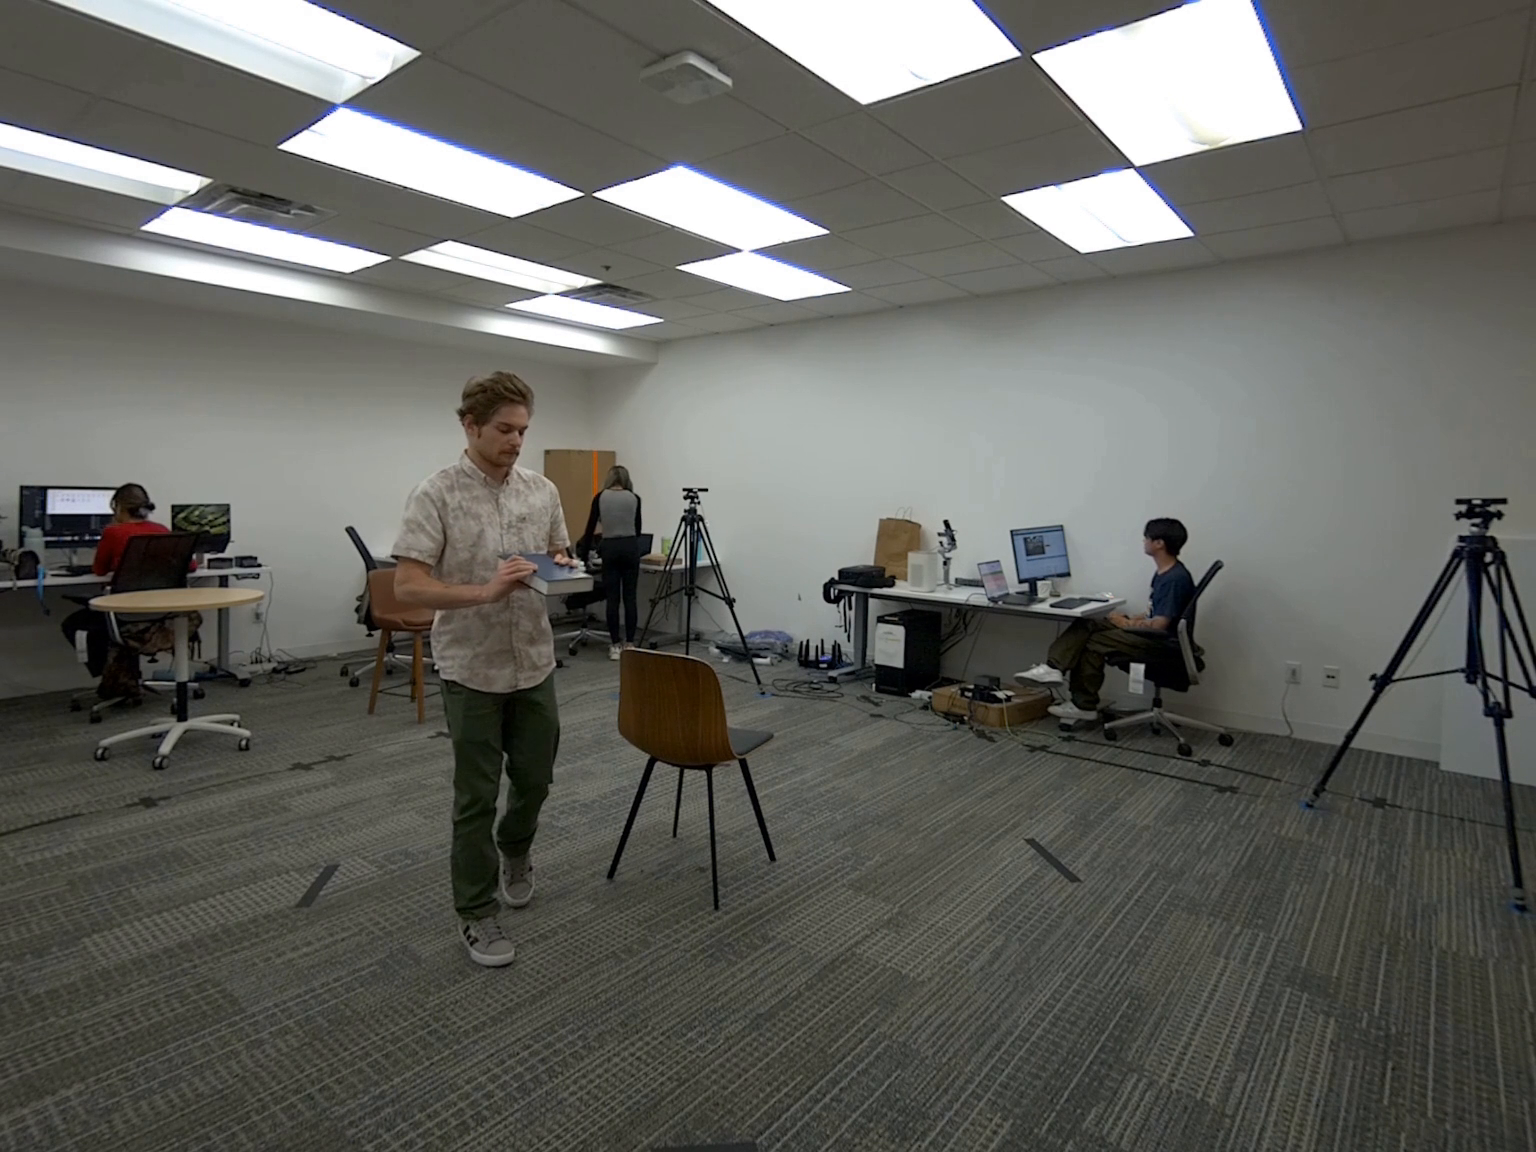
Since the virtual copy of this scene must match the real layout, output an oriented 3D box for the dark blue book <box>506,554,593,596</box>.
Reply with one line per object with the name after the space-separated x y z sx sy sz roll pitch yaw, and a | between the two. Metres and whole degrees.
-0.656 -0.005 2.373 0.255 0.045 0.158 21 17 38 | dark blue book
